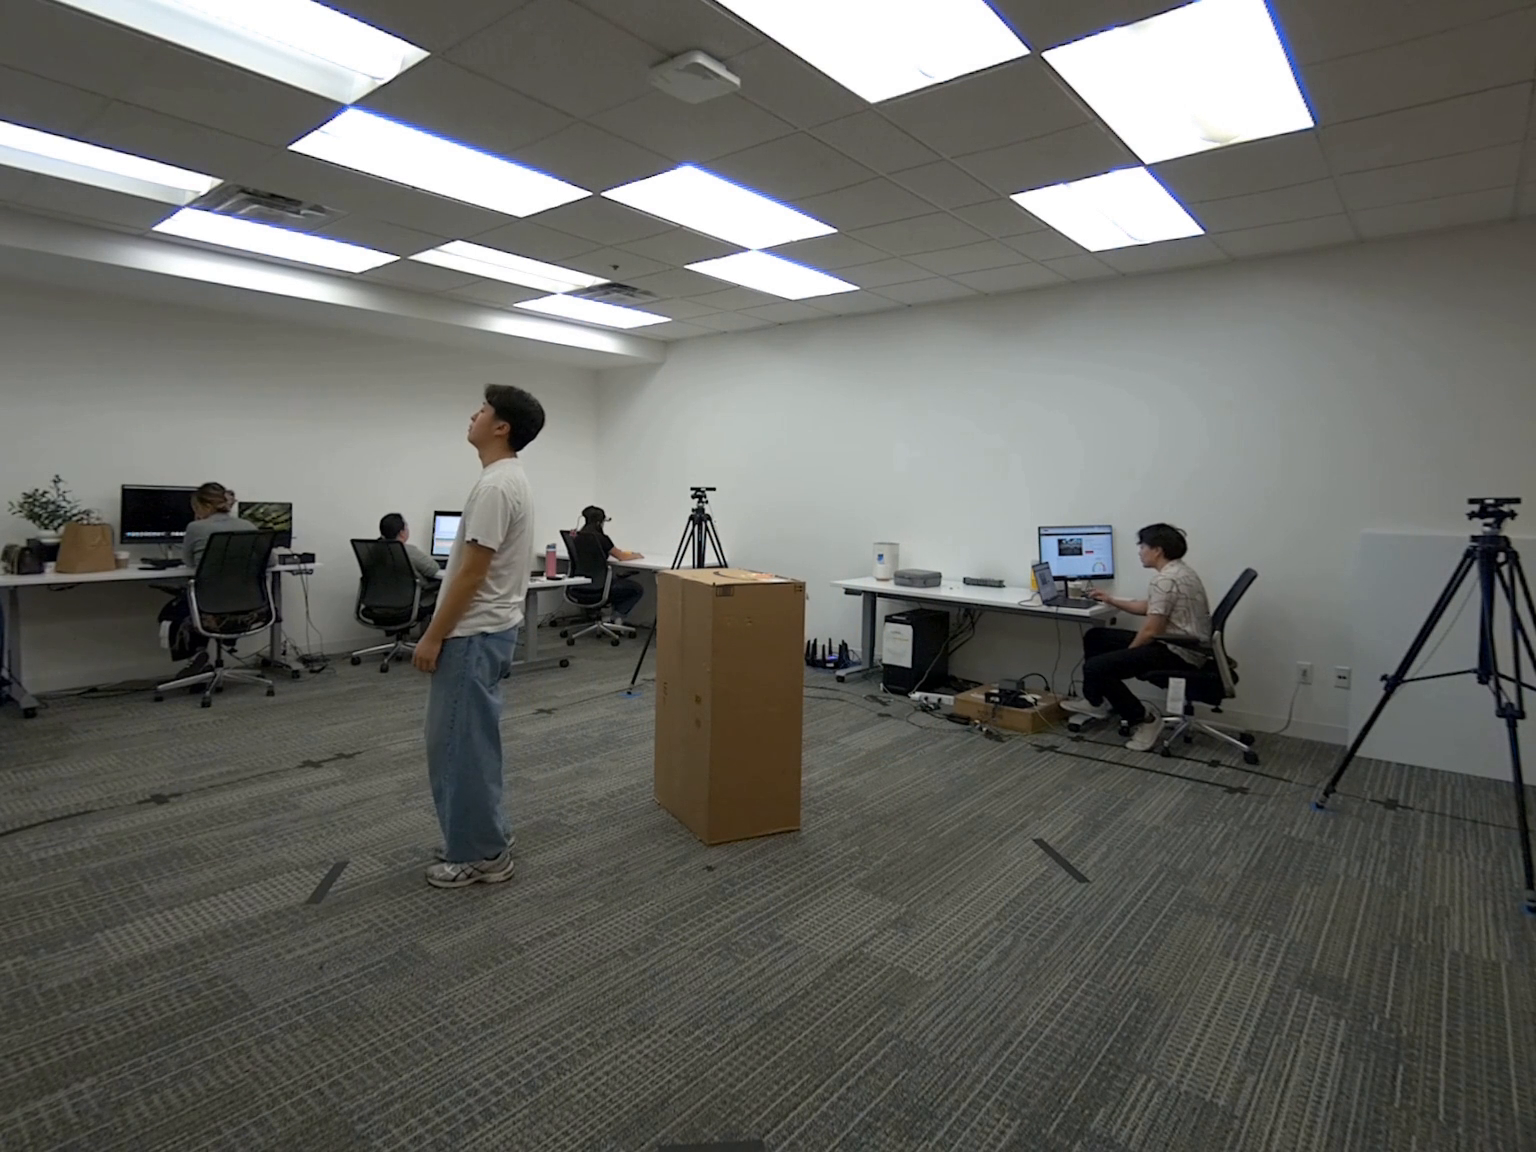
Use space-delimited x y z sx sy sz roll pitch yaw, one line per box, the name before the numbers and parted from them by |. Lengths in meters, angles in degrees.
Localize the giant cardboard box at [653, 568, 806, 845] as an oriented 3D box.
giant cardboard box | -0.187 0.506 3.627 0.415 1.023 0.595 0 3 -30
